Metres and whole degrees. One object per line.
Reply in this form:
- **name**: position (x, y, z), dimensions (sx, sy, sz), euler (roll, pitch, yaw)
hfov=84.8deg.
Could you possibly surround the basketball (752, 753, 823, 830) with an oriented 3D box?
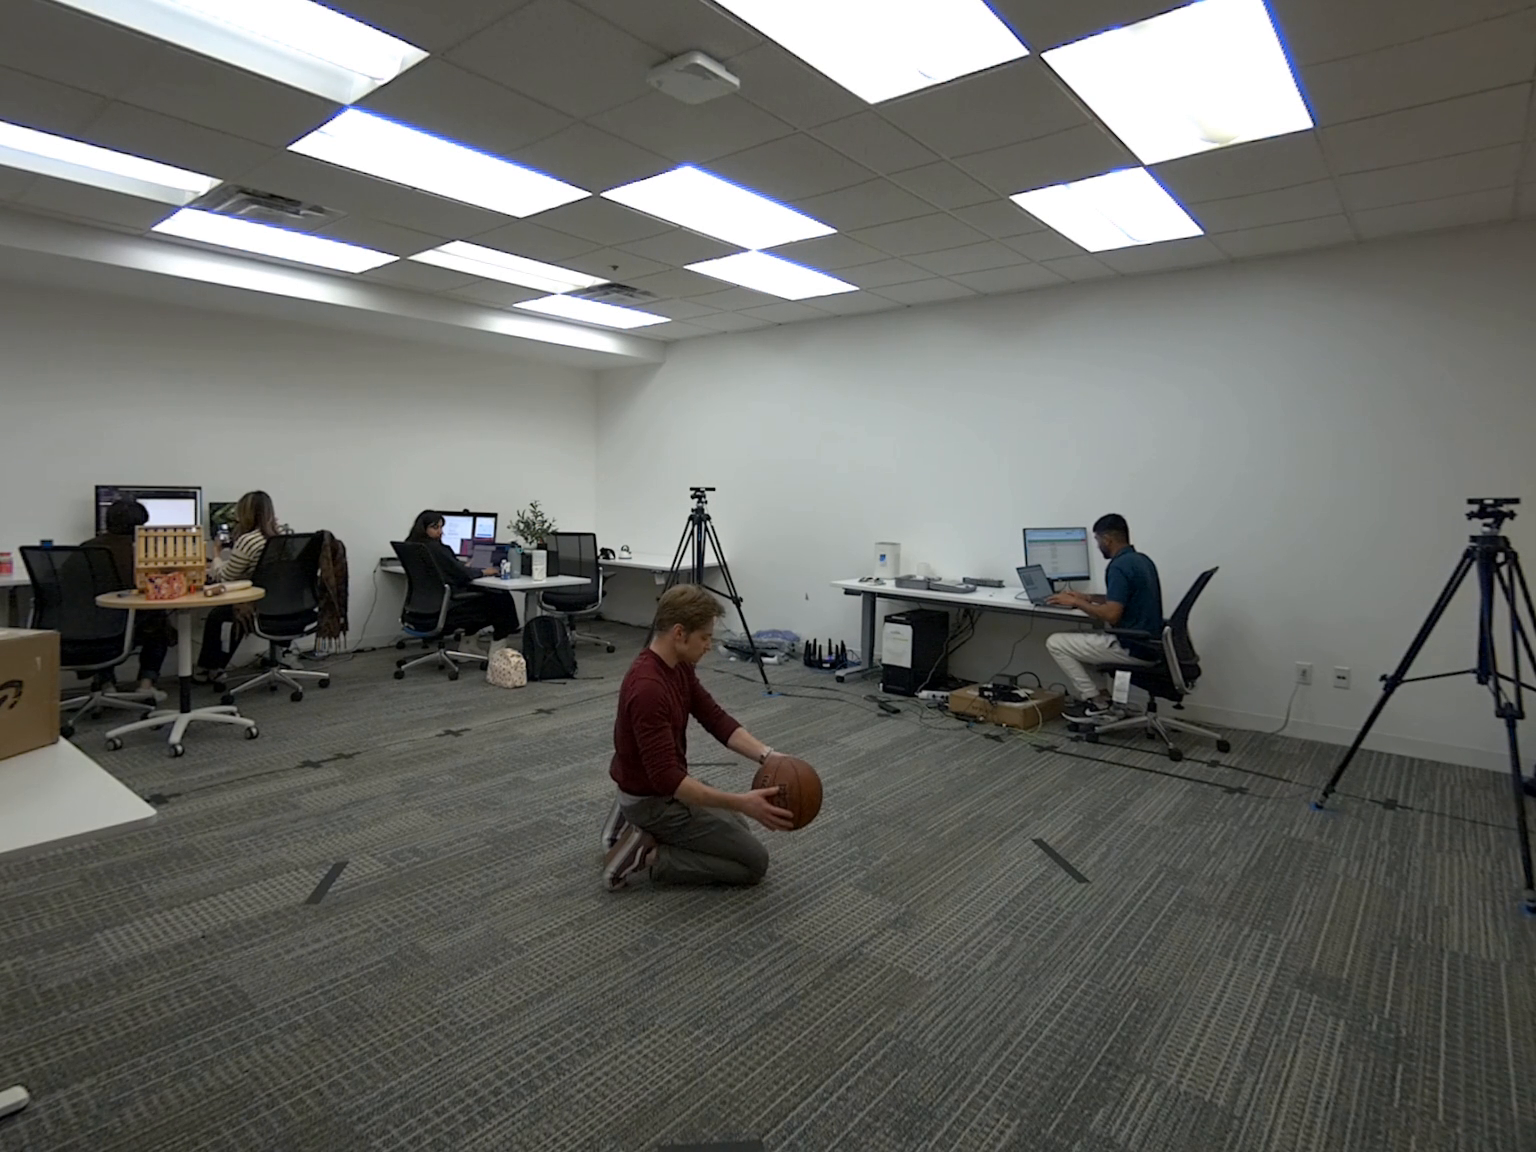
- **basketball**: position (0.043, 0.722, 2.826), dimensions (0.235, 0.235, 0.237), euler (1, 4, -2)
